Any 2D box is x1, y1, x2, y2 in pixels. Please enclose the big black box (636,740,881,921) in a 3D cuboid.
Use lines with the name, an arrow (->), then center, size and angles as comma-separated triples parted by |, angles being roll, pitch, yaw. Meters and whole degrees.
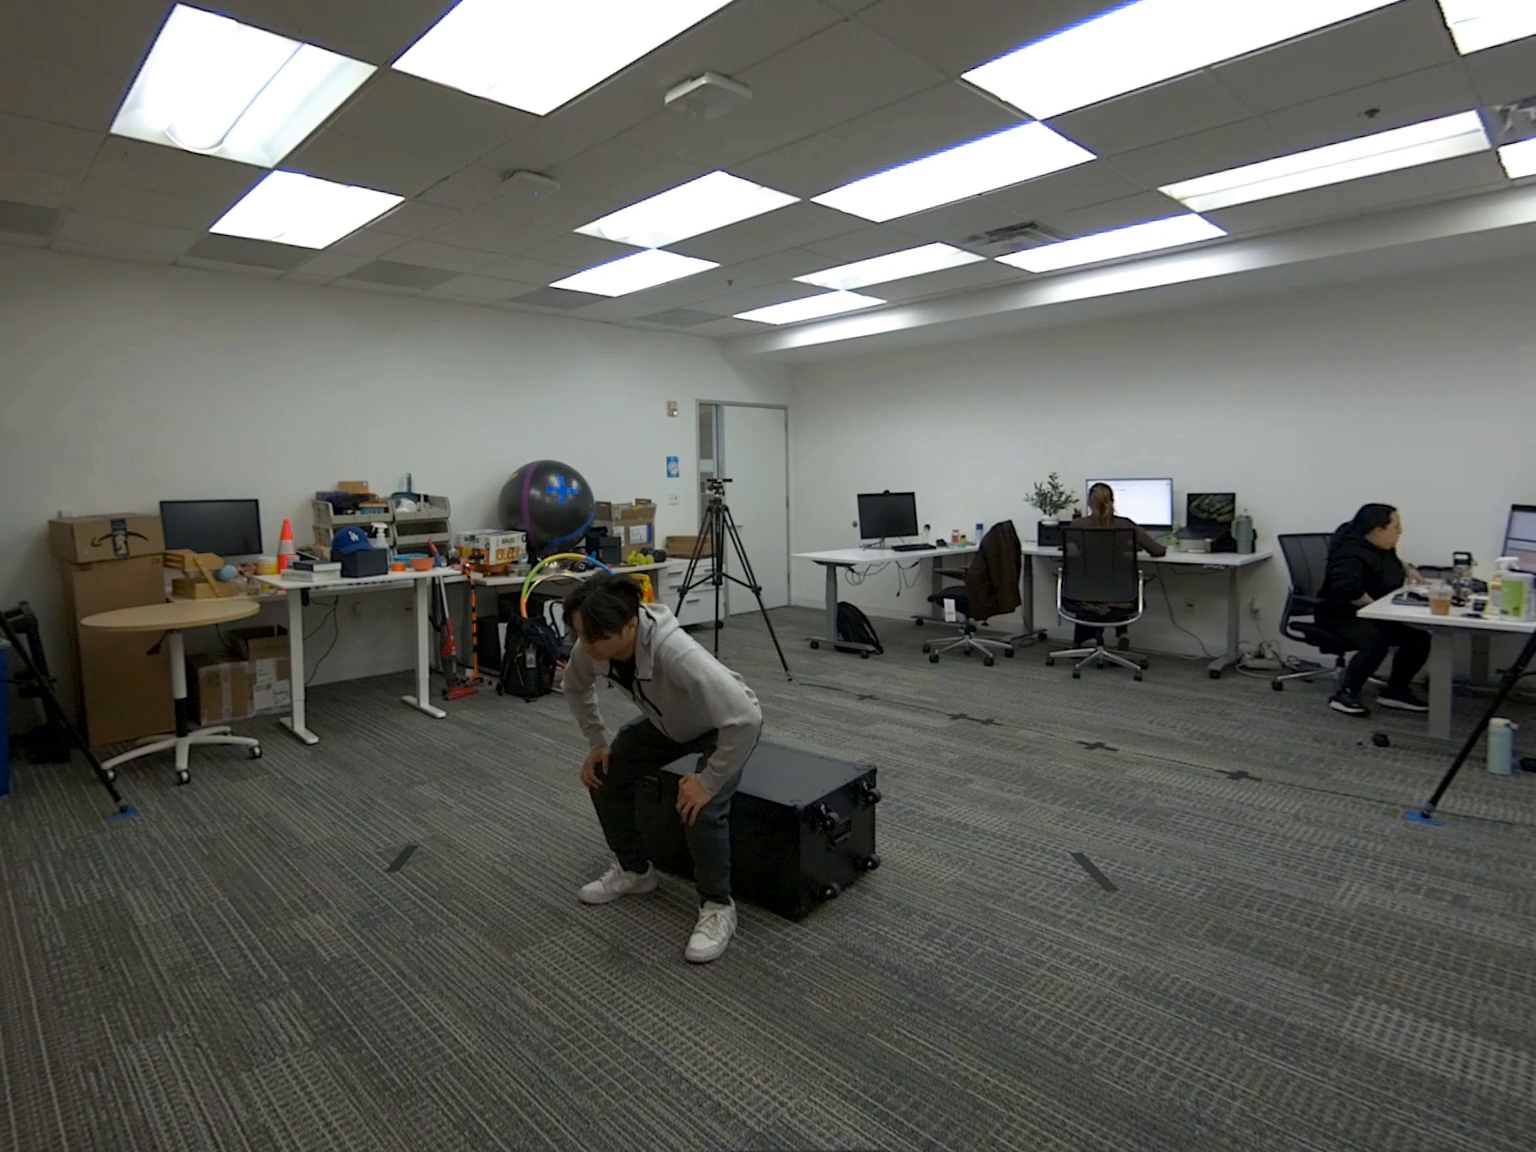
big black box -> -0.088, 0.855, 3.116 | 0.887, 0.394, 0.508 | 4, 7, 38
